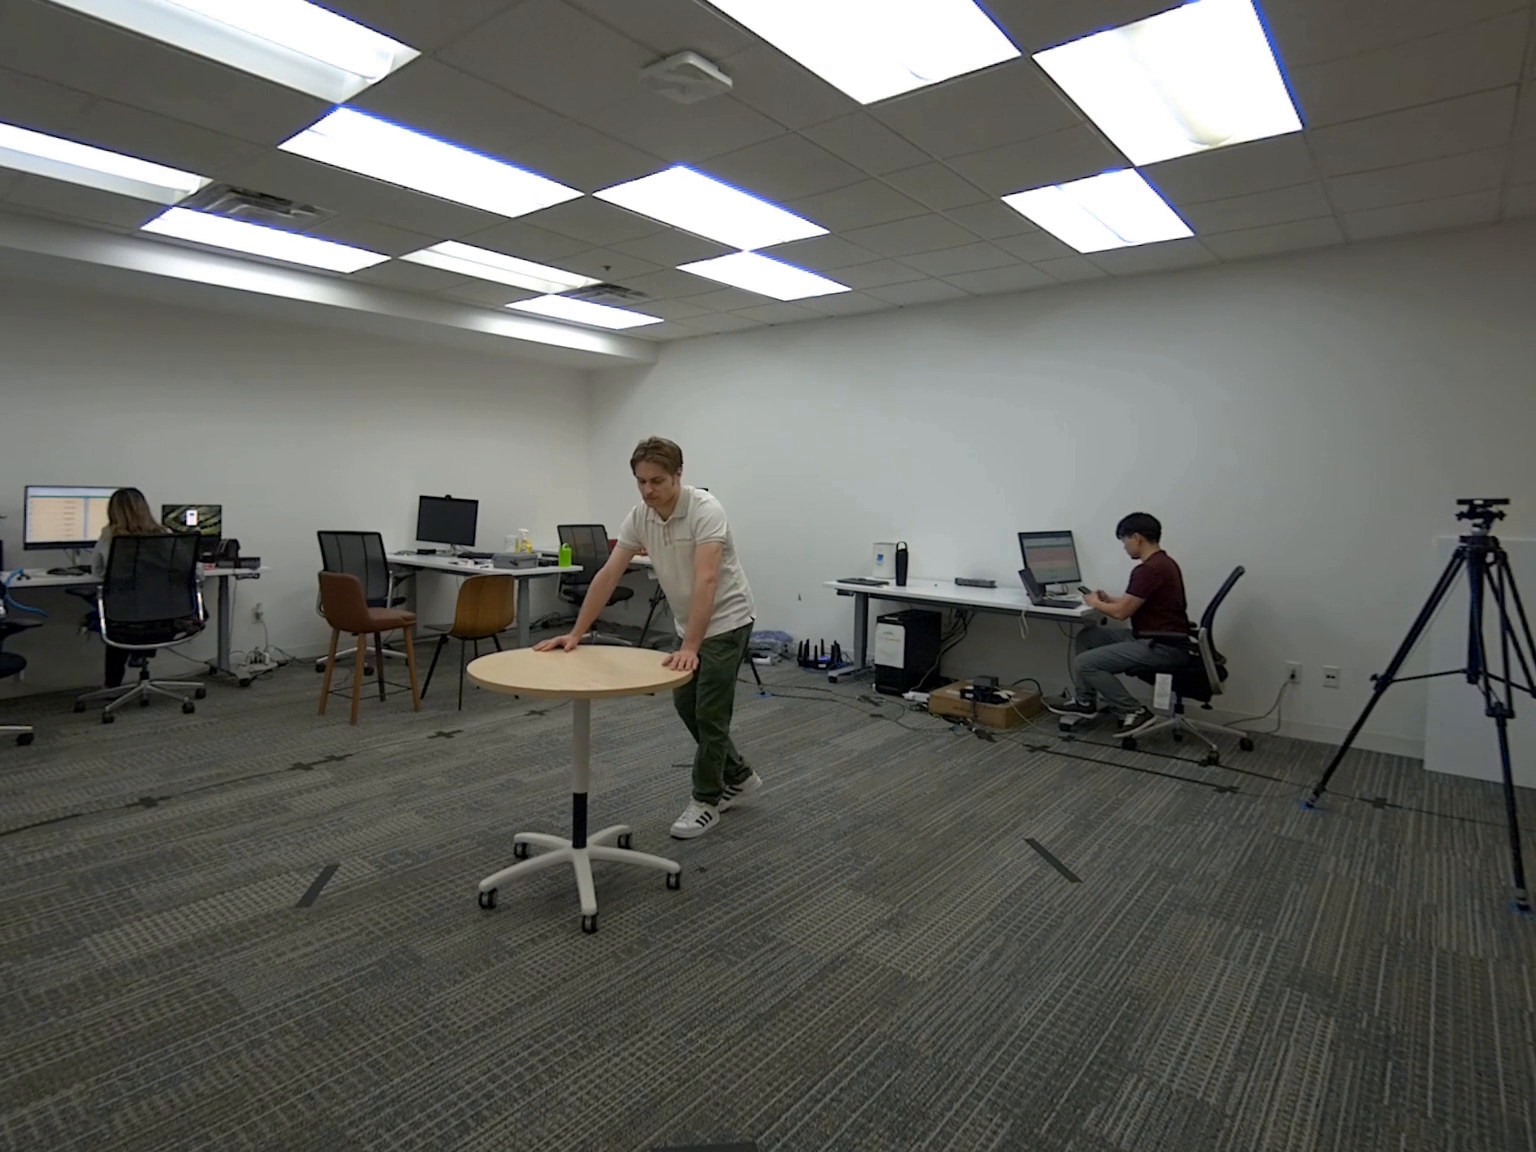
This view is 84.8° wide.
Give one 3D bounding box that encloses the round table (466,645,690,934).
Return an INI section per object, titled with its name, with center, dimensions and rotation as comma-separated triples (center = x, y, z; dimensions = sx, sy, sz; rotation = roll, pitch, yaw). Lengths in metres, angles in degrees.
[round table]
center = -0.663, 0.694, 2.946
dimensions = 0.763, 0.792, 0.767
rotation = 1, 4, -2
